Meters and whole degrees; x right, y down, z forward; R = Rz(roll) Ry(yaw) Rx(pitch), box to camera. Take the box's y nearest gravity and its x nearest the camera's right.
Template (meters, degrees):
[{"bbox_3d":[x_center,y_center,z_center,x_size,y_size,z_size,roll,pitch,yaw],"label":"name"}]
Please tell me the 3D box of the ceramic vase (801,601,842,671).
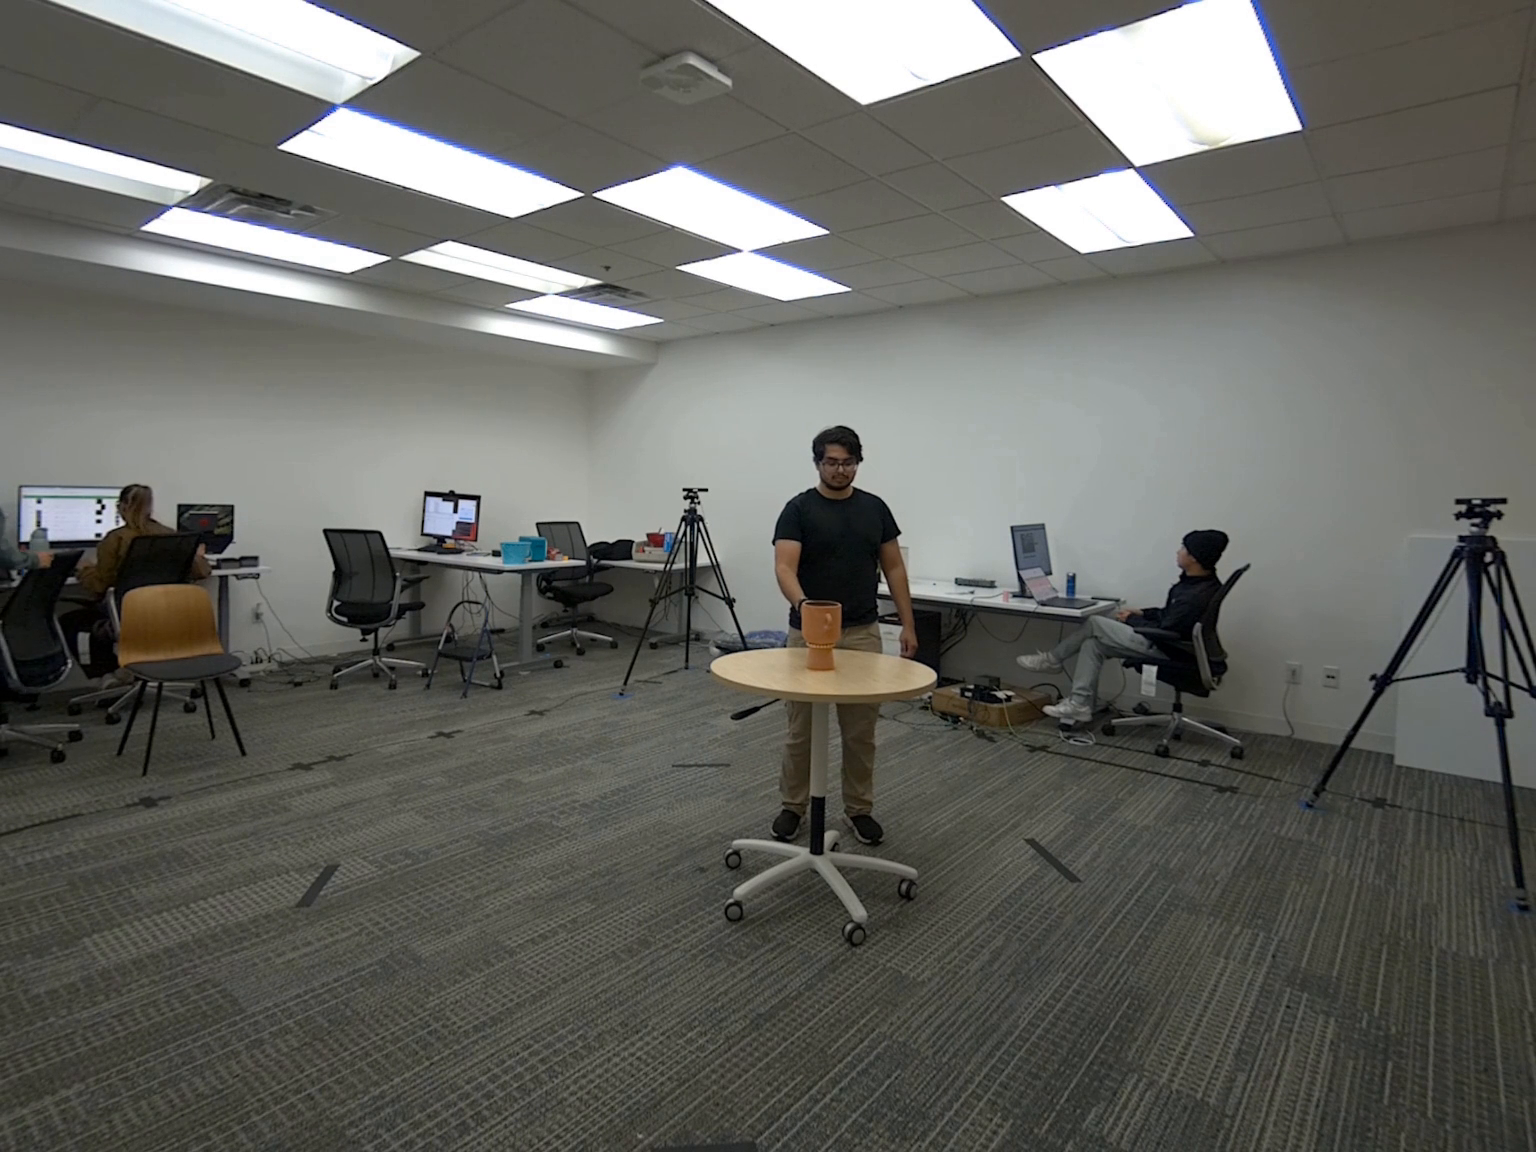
[{"bbox_3d":[0.171,0.198,2.917,0.139,0.219,0.155,3,5,31],"label":"ceramic vase"}]
